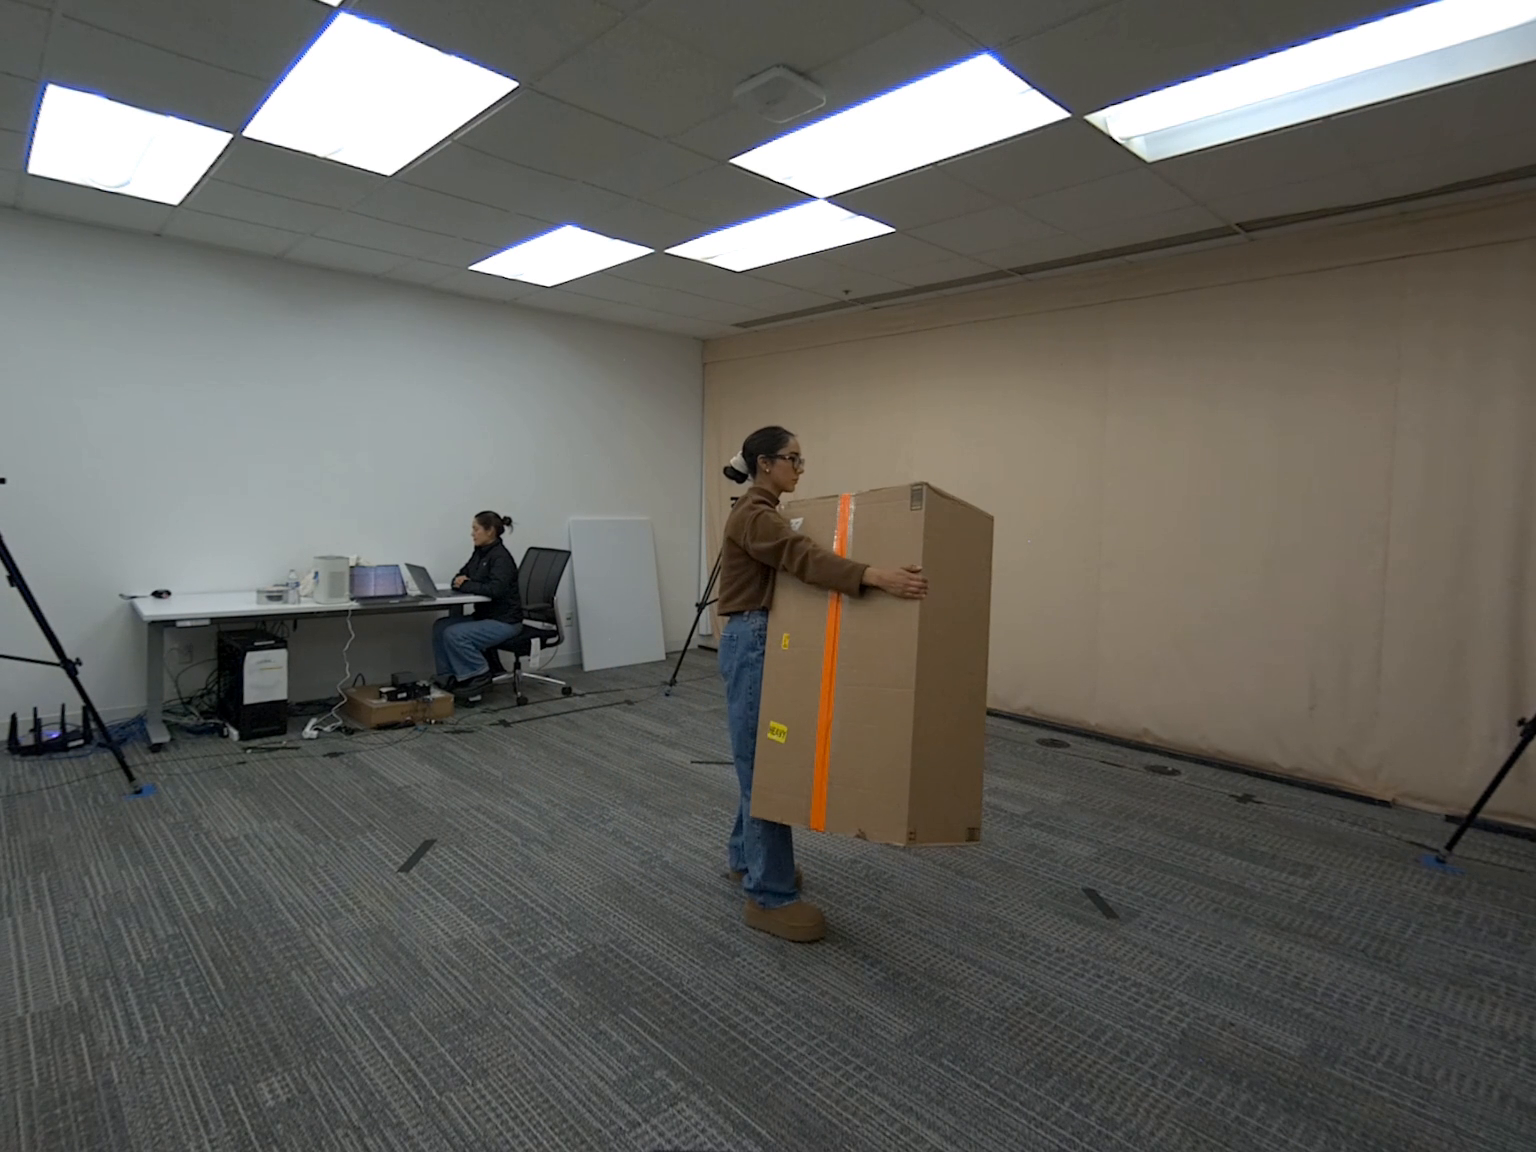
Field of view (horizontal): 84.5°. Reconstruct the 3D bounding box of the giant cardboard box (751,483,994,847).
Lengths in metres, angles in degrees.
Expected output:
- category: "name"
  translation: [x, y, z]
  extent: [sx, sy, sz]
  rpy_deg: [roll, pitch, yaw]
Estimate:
- category: "giant cardboard box"
  translation: [0.335, 0.286, 2.679]
  extent: [0.590, 1.034, 0.414]
  rpy_deg: [-5, -16, 43]
